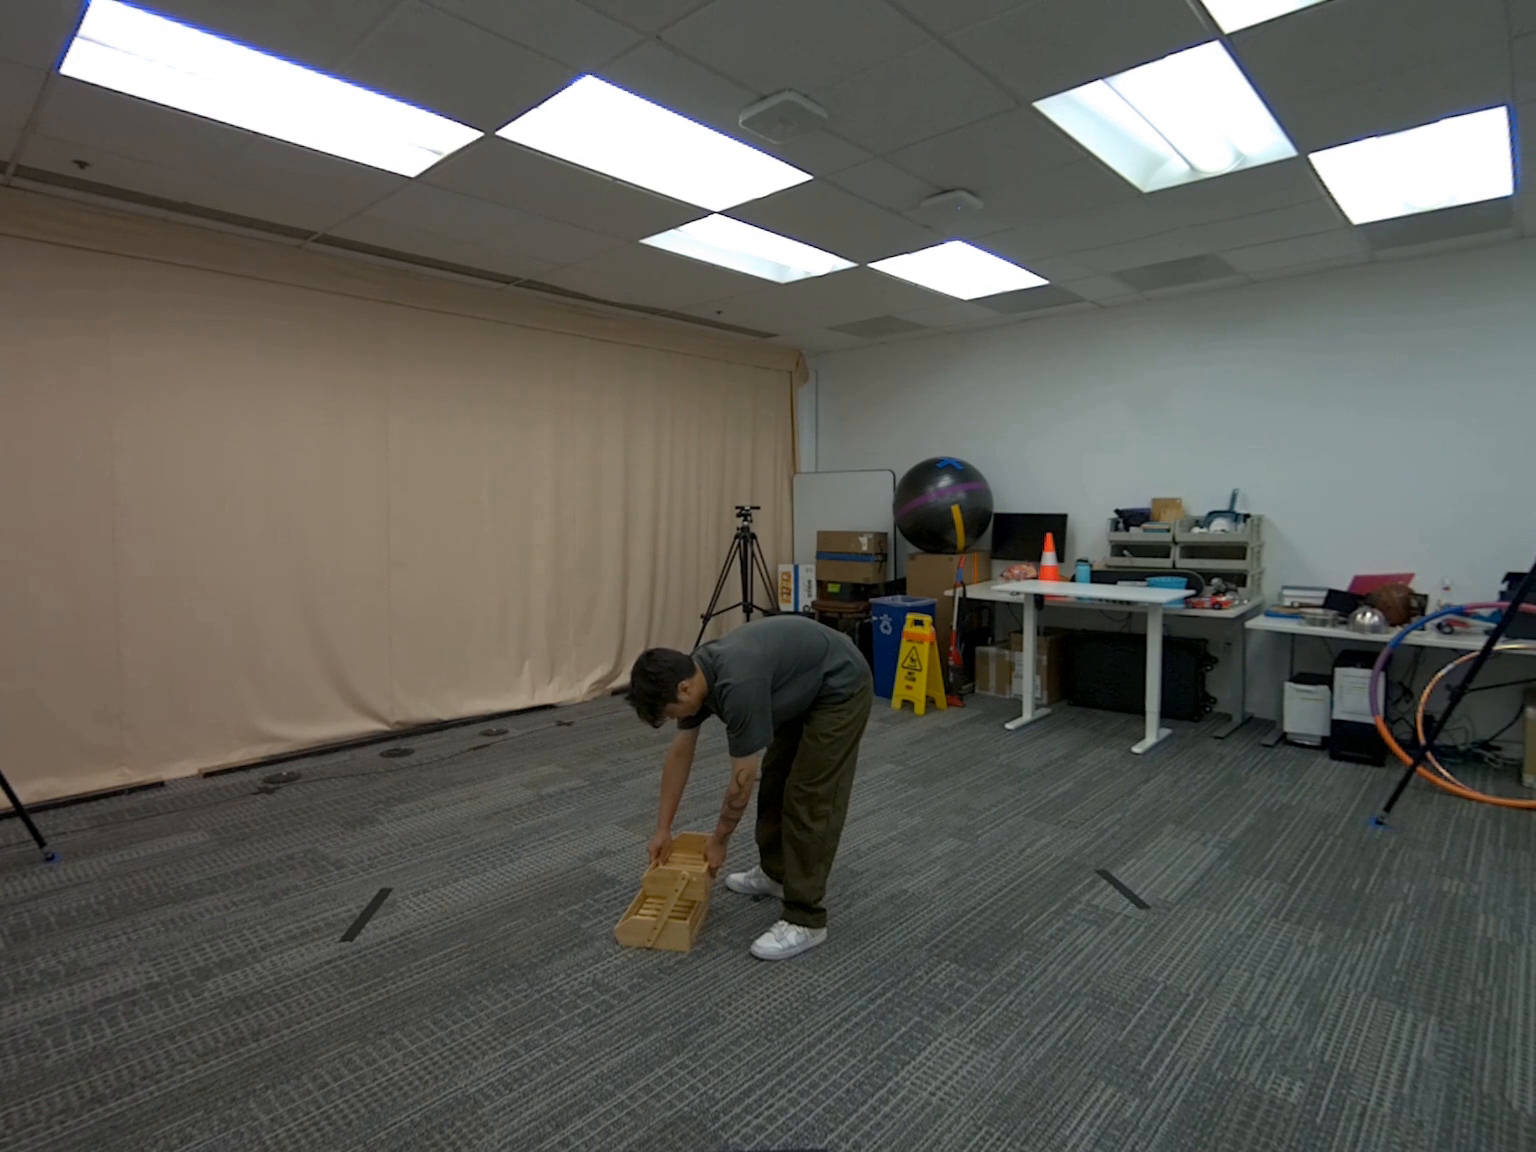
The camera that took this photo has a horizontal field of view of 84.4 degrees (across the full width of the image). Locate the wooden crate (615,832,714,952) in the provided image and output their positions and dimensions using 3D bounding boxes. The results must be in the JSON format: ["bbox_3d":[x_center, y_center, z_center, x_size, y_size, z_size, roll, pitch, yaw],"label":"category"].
[{"bbox_3d":[-0.328,1.042,2.783,0.306,0.273,0.321,-1,4,10],"label":"wooden crate"}]
